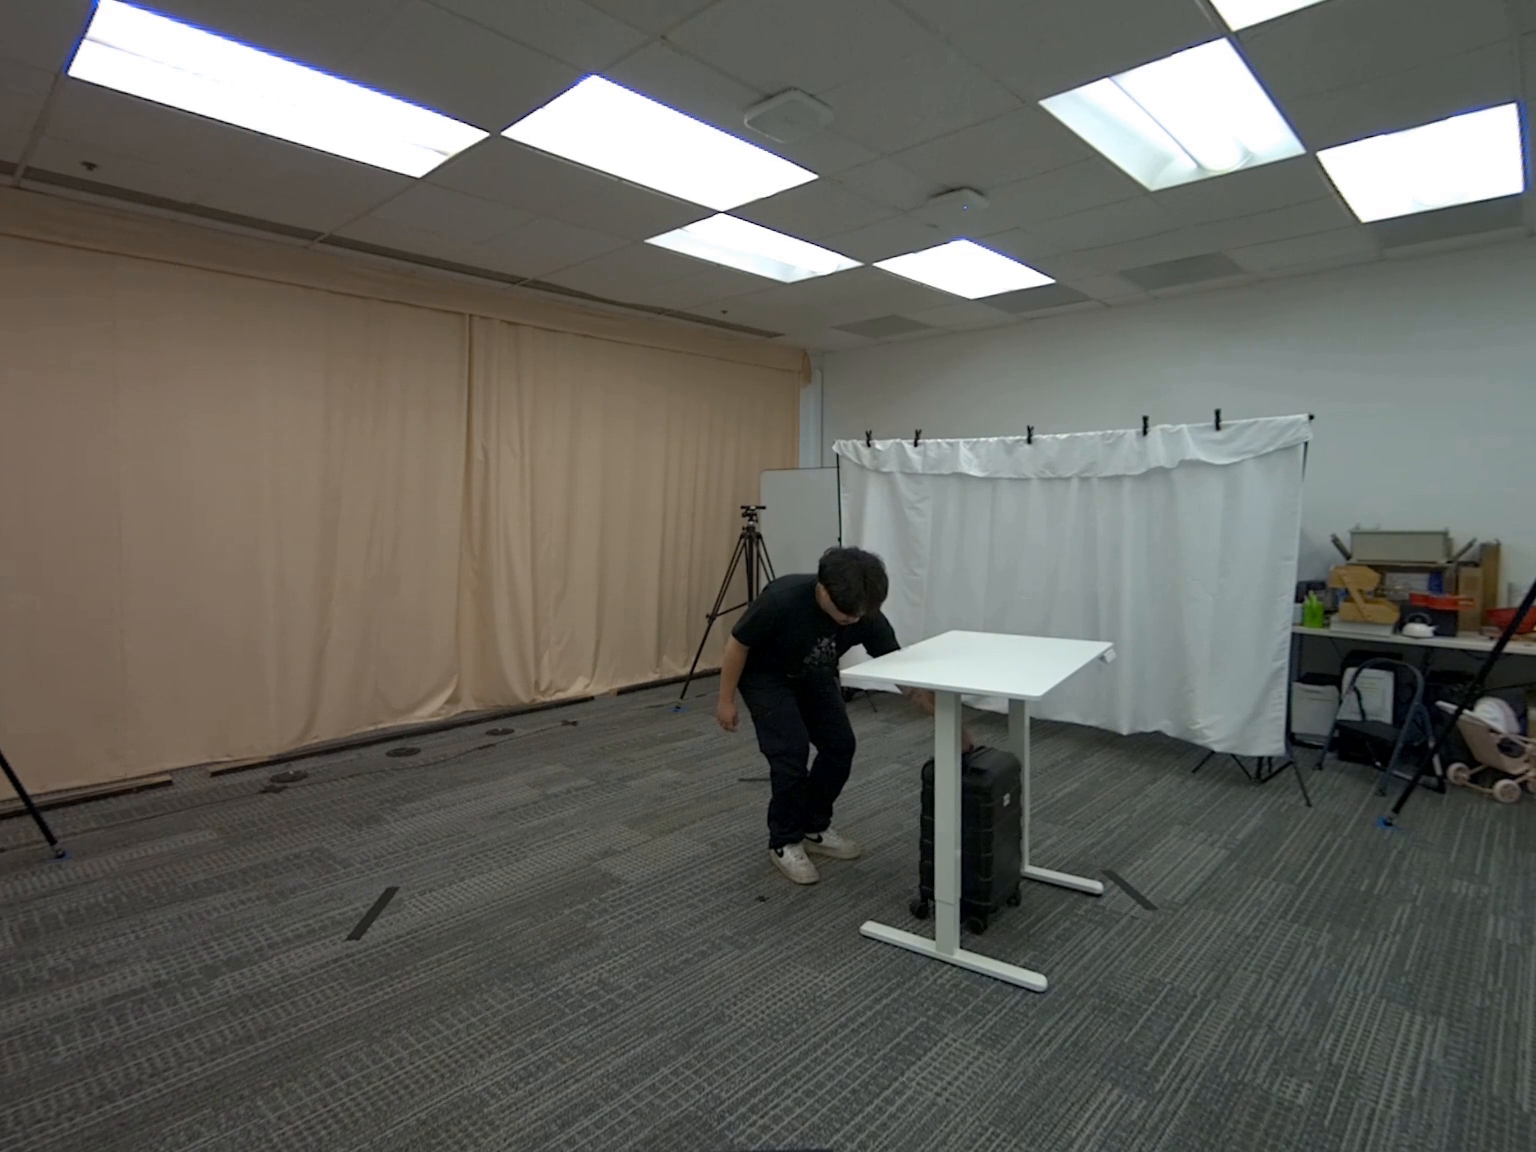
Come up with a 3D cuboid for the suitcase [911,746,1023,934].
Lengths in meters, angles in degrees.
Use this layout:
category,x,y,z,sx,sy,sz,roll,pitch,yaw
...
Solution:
category,x,y,z,sx,sy,sz,roll,pitch,yaw
suitcase,0.704,0.874,2.896,0.256,0.548,0.364,3,3,37
